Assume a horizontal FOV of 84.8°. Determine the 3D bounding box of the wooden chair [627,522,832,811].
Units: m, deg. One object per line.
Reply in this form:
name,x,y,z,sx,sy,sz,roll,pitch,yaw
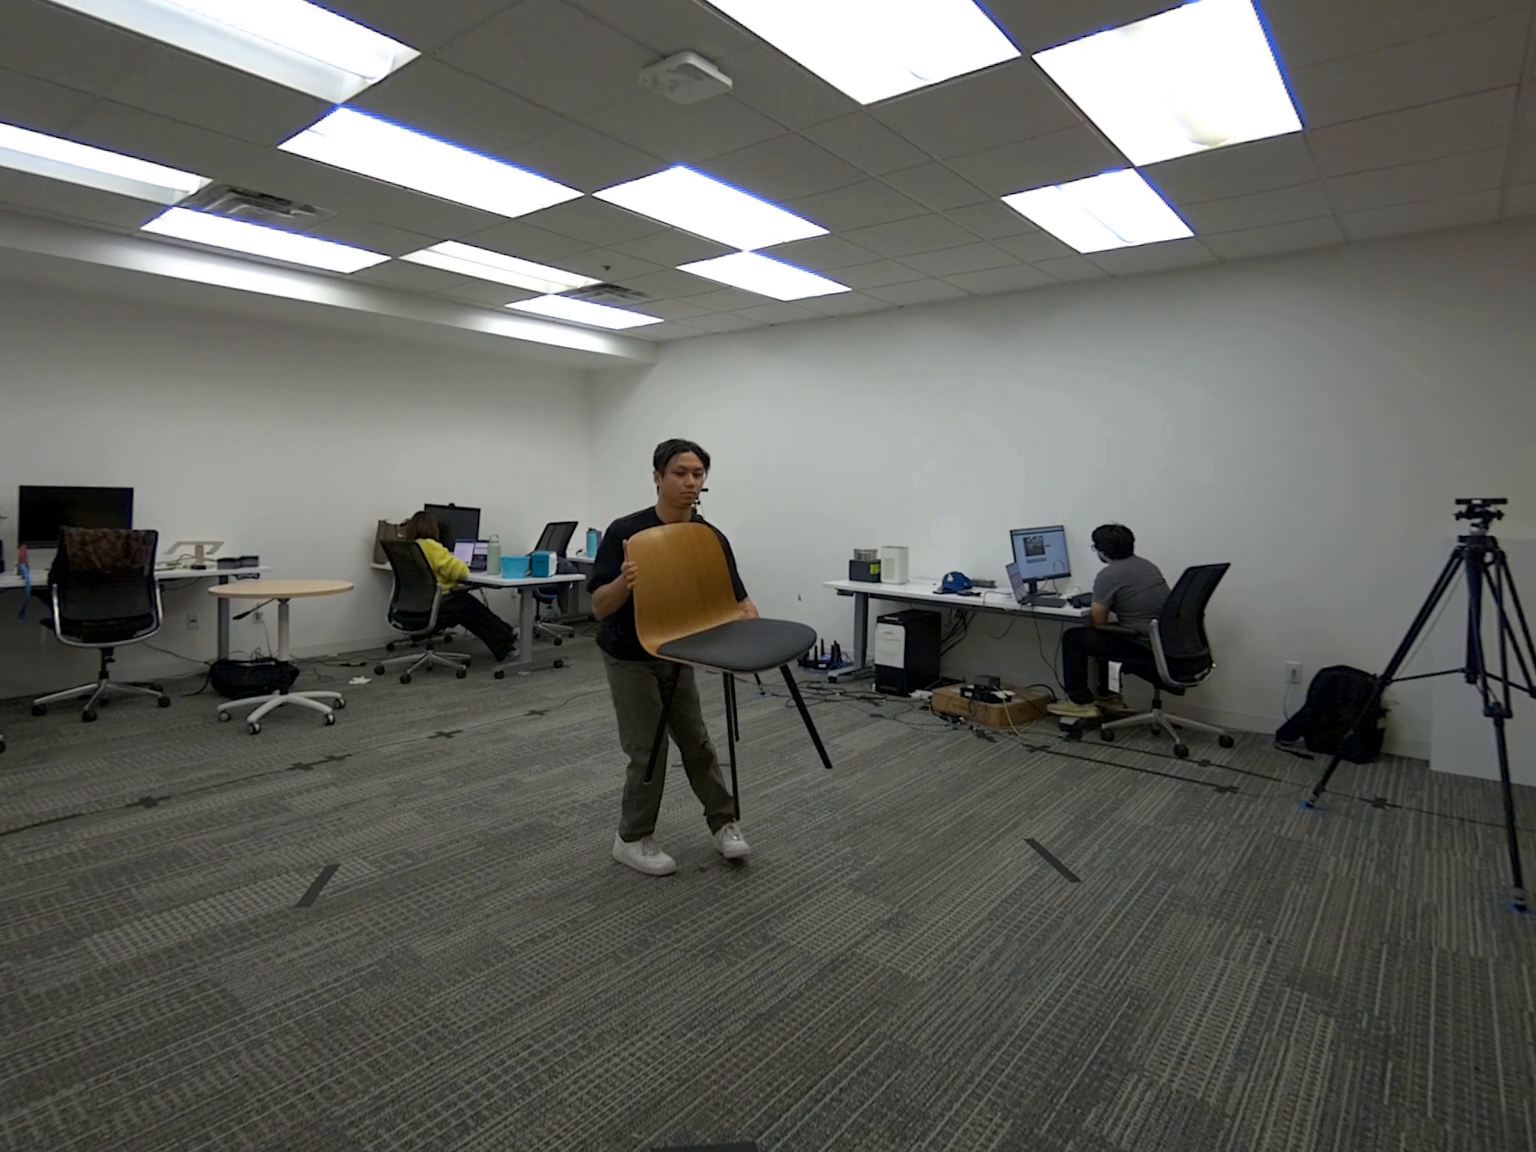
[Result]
wooden chair,-0.137,0.263,2.801,0.466,0.872,0.539,-14,8,-44
